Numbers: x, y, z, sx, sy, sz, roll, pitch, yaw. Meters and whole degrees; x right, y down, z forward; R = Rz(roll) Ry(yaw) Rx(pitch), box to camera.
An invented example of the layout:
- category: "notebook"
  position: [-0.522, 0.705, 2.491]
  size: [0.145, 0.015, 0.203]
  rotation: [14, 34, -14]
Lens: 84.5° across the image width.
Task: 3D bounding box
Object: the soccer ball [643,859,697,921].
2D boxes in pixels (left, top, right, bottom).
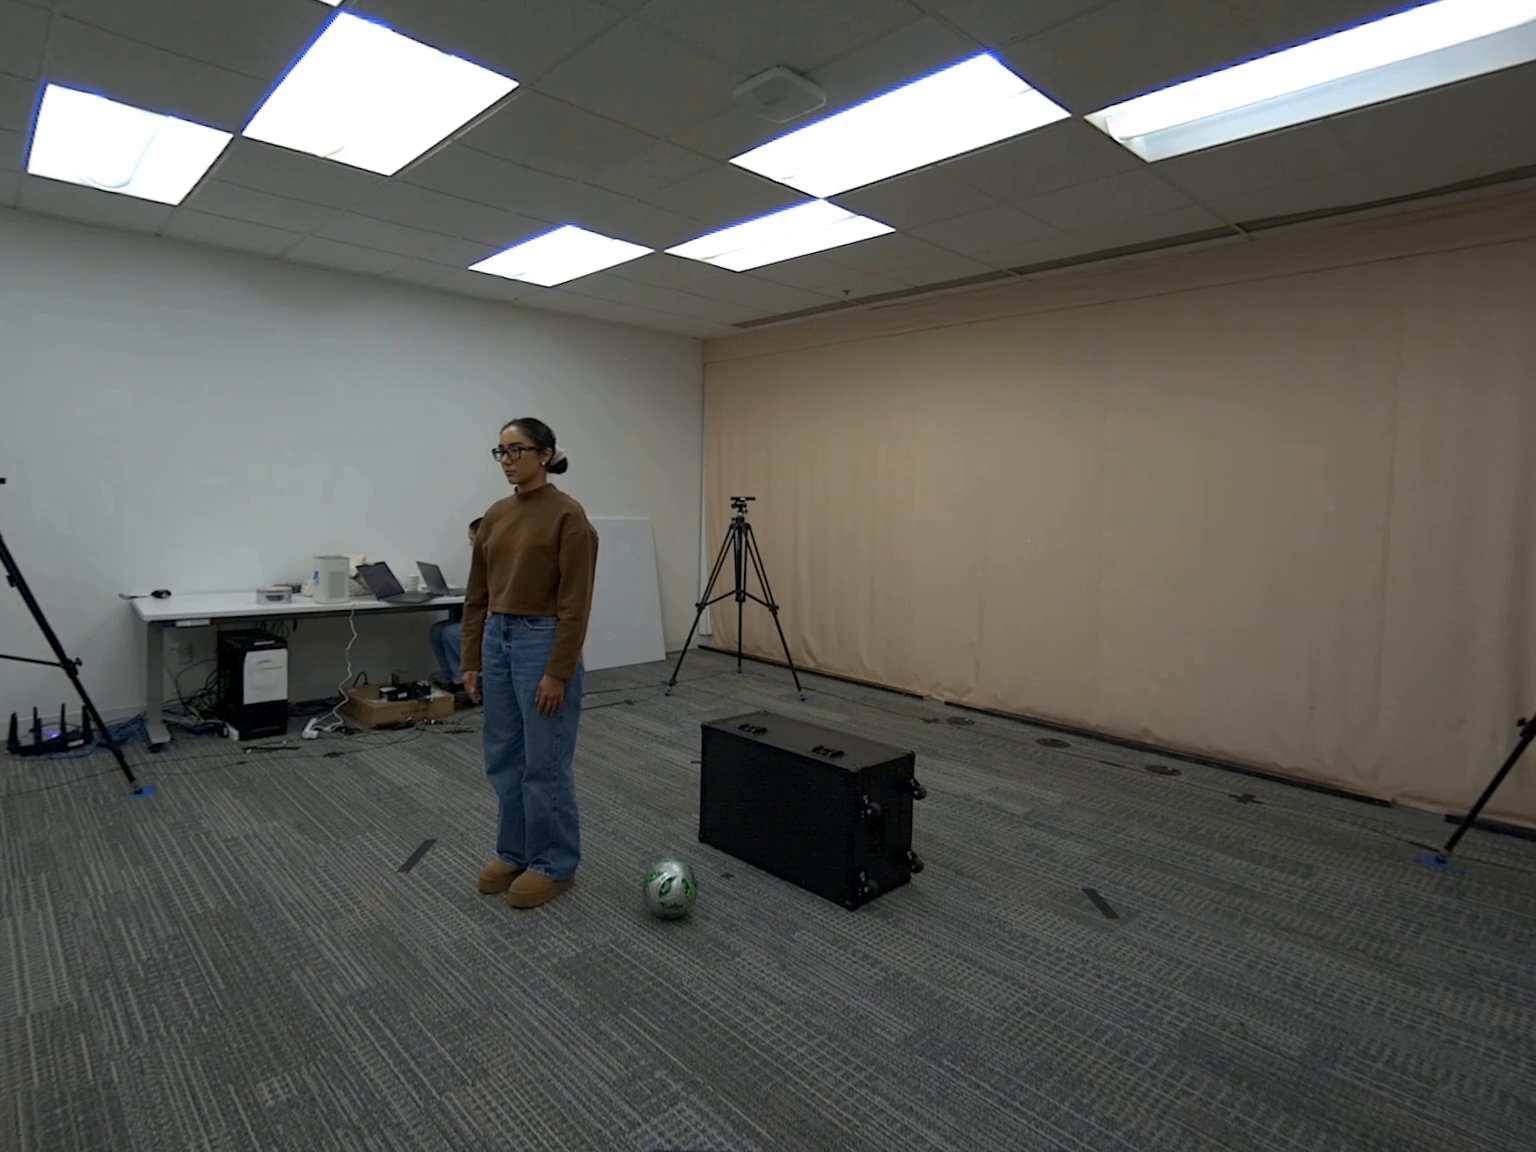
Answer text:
- category: "soccer ball"
  position: [-0.334, 1.036, 2.784]
  size: [0.187, 0.187, 0.188]
  rotation: [1, 4, -1]
